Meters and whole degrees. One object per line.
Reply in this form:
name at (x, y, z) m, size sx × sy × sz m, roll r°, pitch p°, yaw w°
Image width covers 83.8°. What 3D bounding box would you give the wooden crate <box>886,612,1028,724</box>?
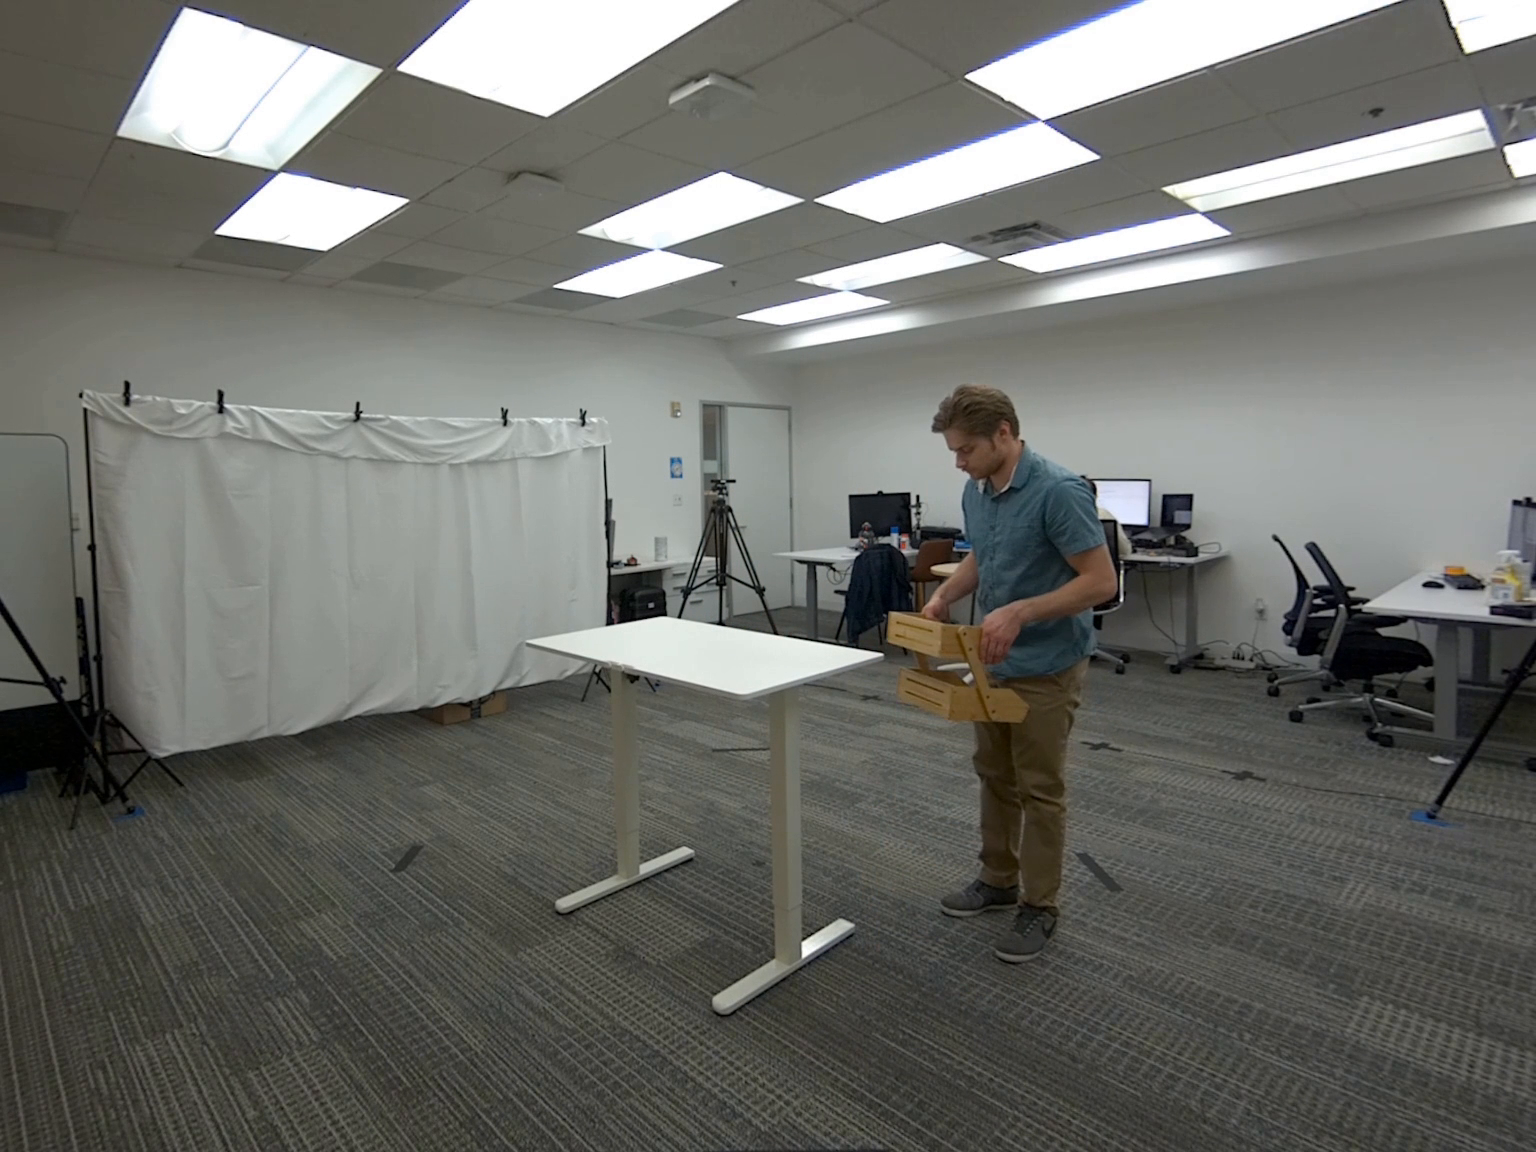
wooden crate at (0.570, 0.259, 2.475) m, size 0.298 × 0.273 × 0.329 m, roll 4°, pitch 0°, yaw -15°
